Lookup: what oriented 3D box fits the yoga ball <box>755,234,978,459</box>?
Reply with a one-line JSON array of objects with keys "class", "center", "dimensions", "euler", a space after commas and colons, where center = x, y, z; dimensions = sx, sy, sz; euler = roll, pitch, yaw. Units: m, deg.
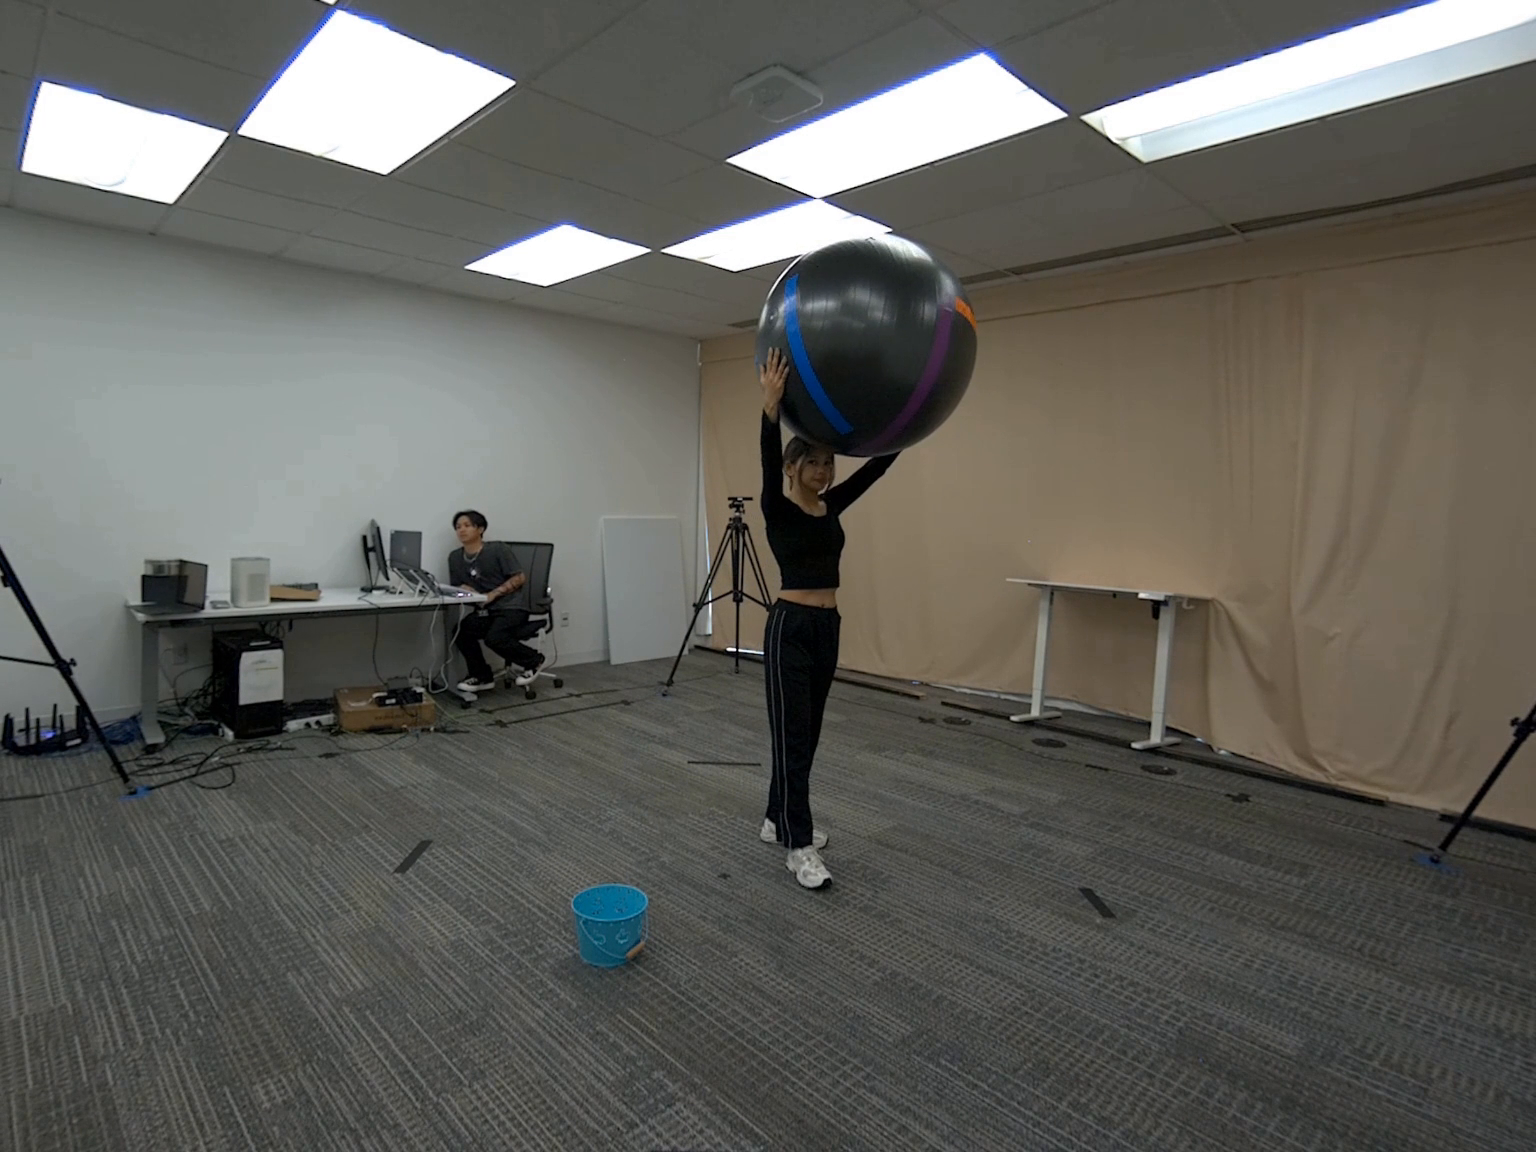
[{"class": "yoga ball", "center": [0.329, -0.785, 2.921], "dimensions": [0.757, 0.756, 0.761], "euler": [1, 4, -1]}]
